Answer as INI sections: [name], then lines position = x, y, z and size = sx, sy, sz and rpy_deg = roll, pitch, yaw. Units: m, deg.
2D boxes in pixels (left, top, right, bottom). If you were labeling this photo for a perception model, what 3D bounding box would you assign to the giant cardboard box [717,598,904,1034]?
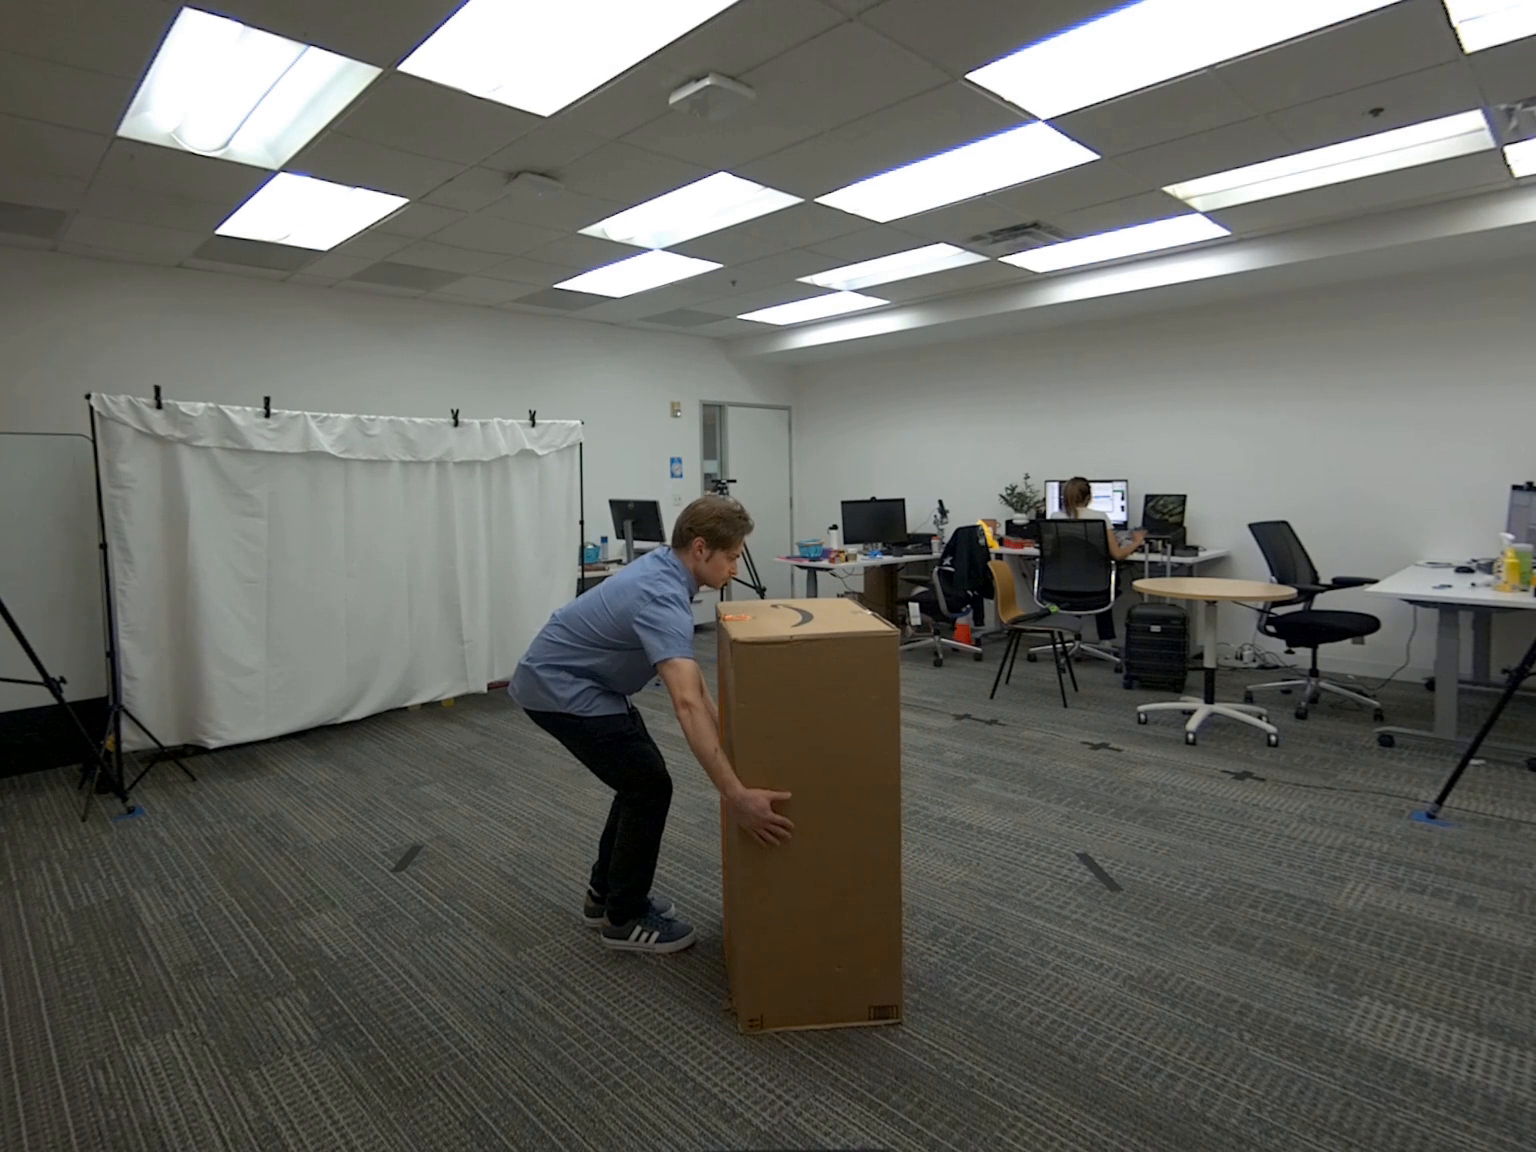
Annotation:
[giant cardboard box]
position = 0.098, 0.617, 2.410
size = 0.424, 1.021, 0.583
rpy_deg = -2, 5, -6
